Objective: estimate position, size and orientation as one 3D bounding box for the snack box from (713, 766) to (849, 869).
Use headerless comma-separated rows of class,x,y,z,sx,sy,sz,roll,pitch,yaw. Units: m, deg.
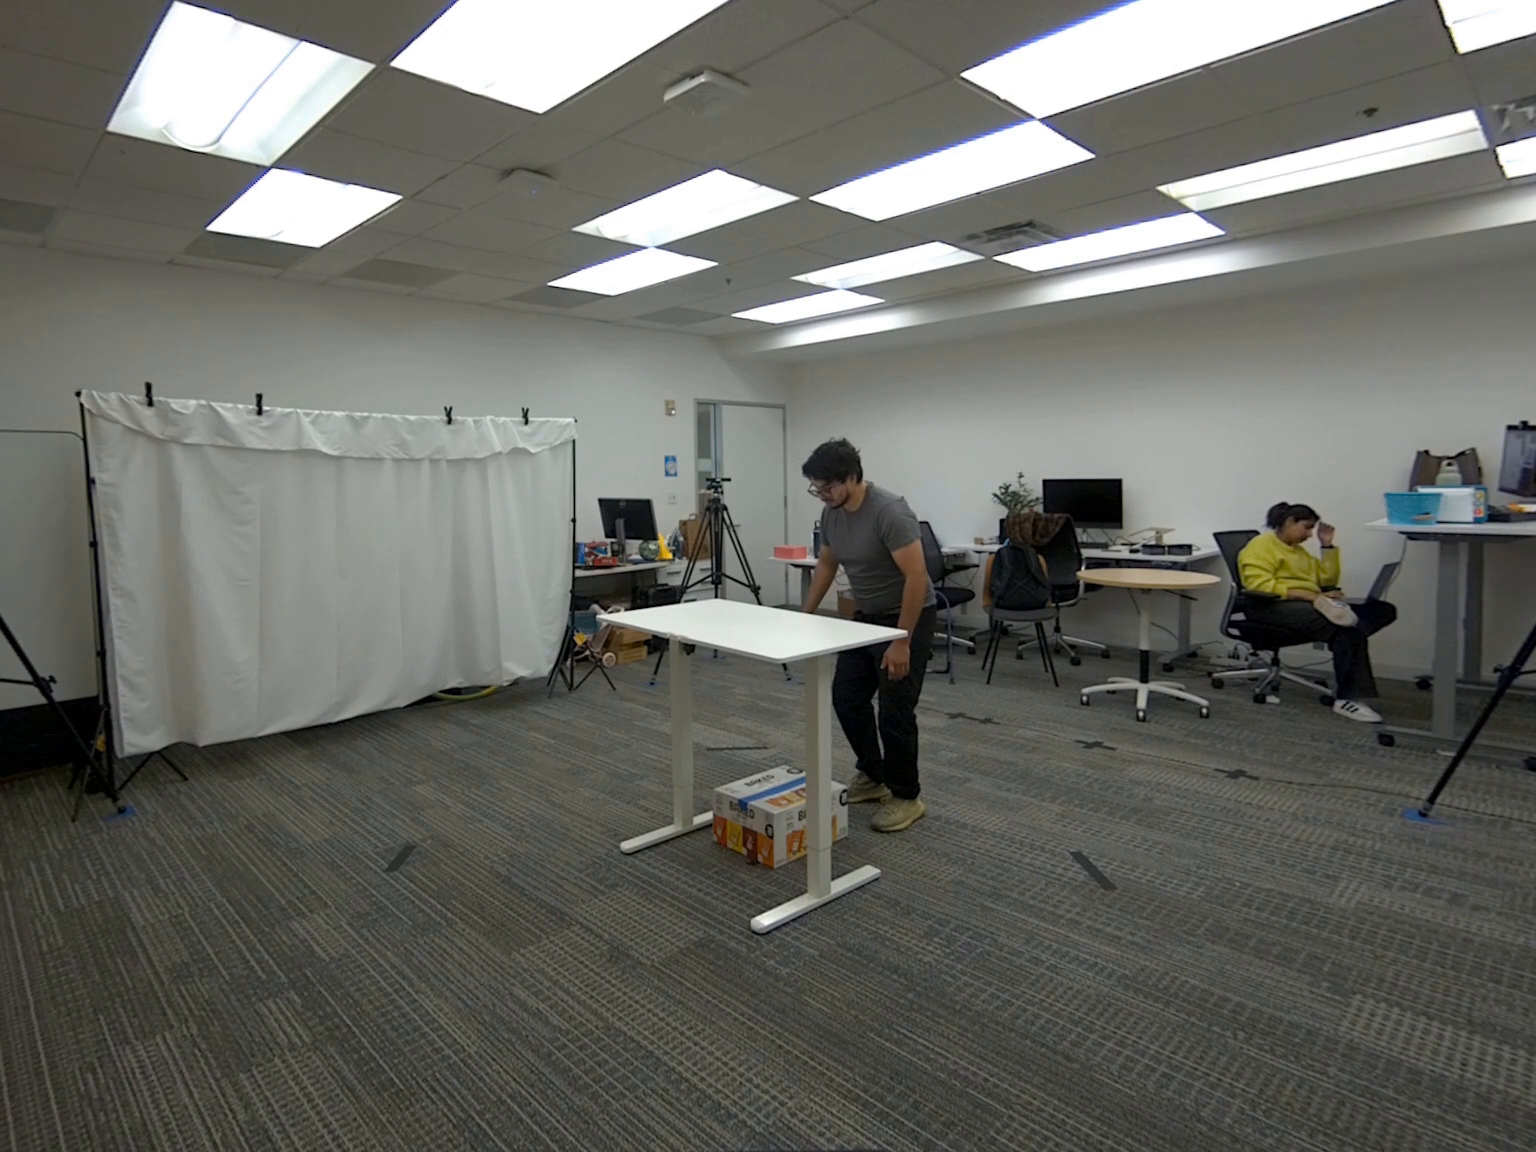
snack box,0.048,0.920,3.300,0.394,0.205,0.351,-6,8,-43
